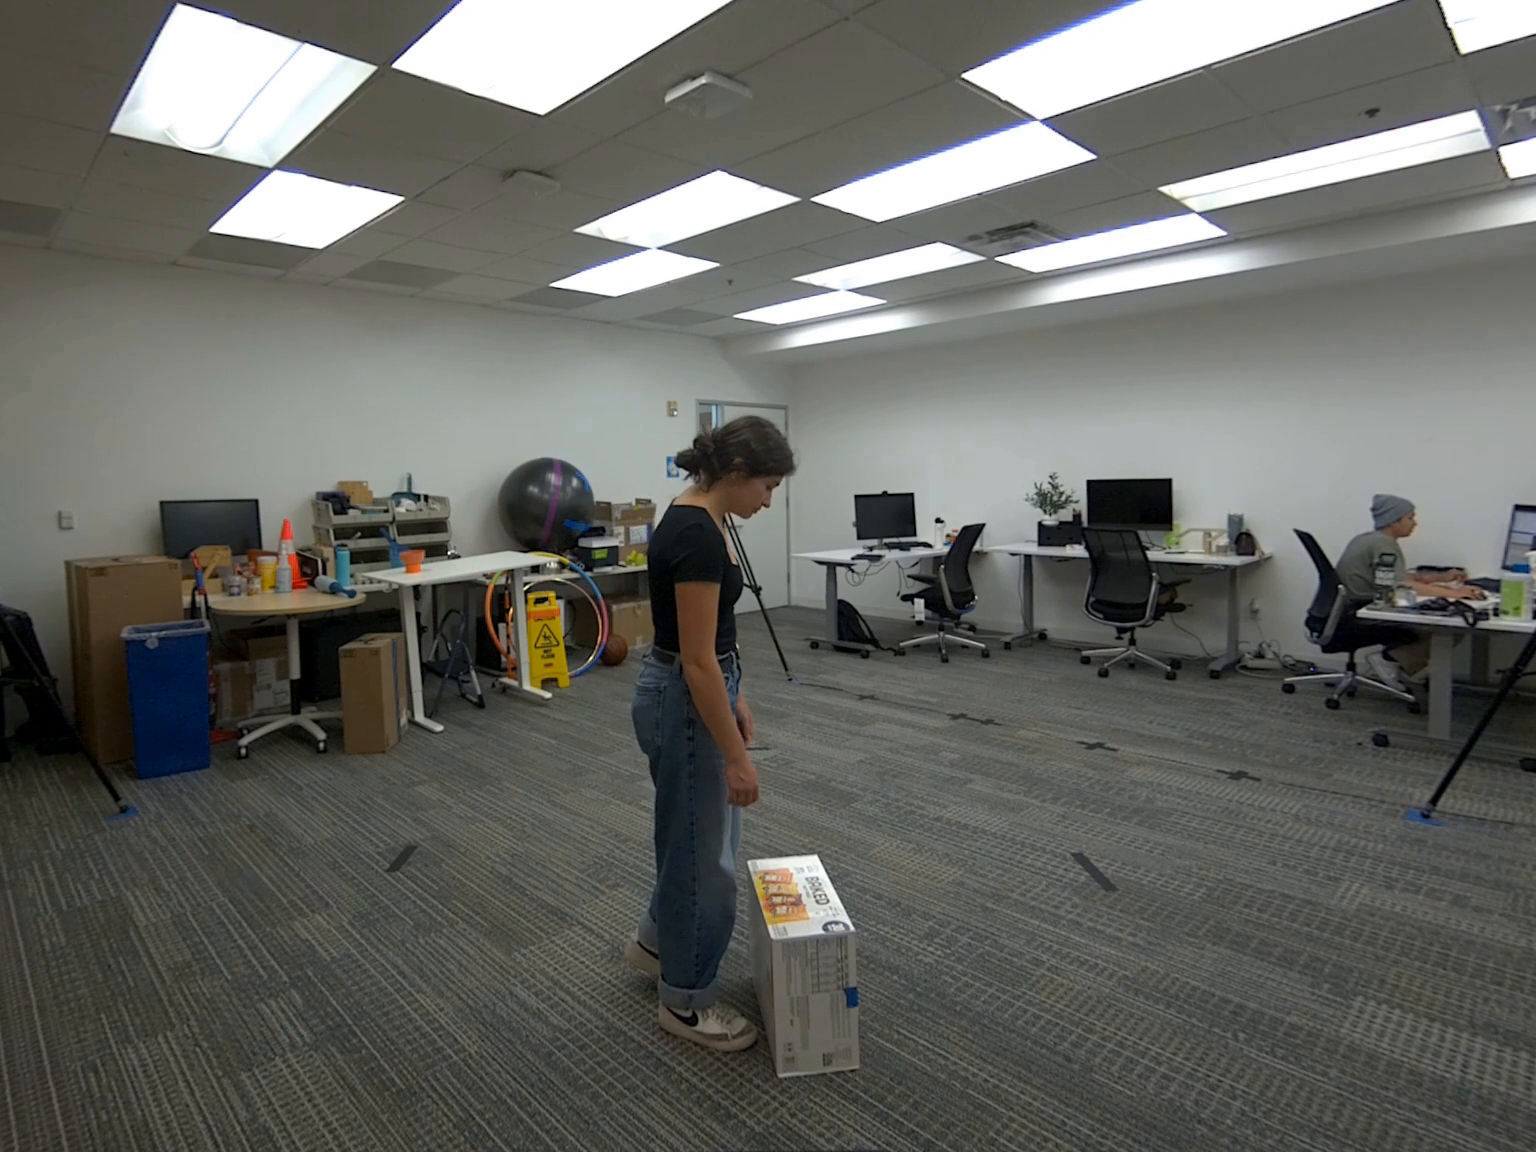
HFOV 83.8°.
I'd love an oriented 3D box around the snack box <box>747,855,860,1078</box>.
[{"bbox_3d":[0.085,0.980,2.195,0.204,0.339,0.410,-4,6,-9],"label":"snack box"}]
